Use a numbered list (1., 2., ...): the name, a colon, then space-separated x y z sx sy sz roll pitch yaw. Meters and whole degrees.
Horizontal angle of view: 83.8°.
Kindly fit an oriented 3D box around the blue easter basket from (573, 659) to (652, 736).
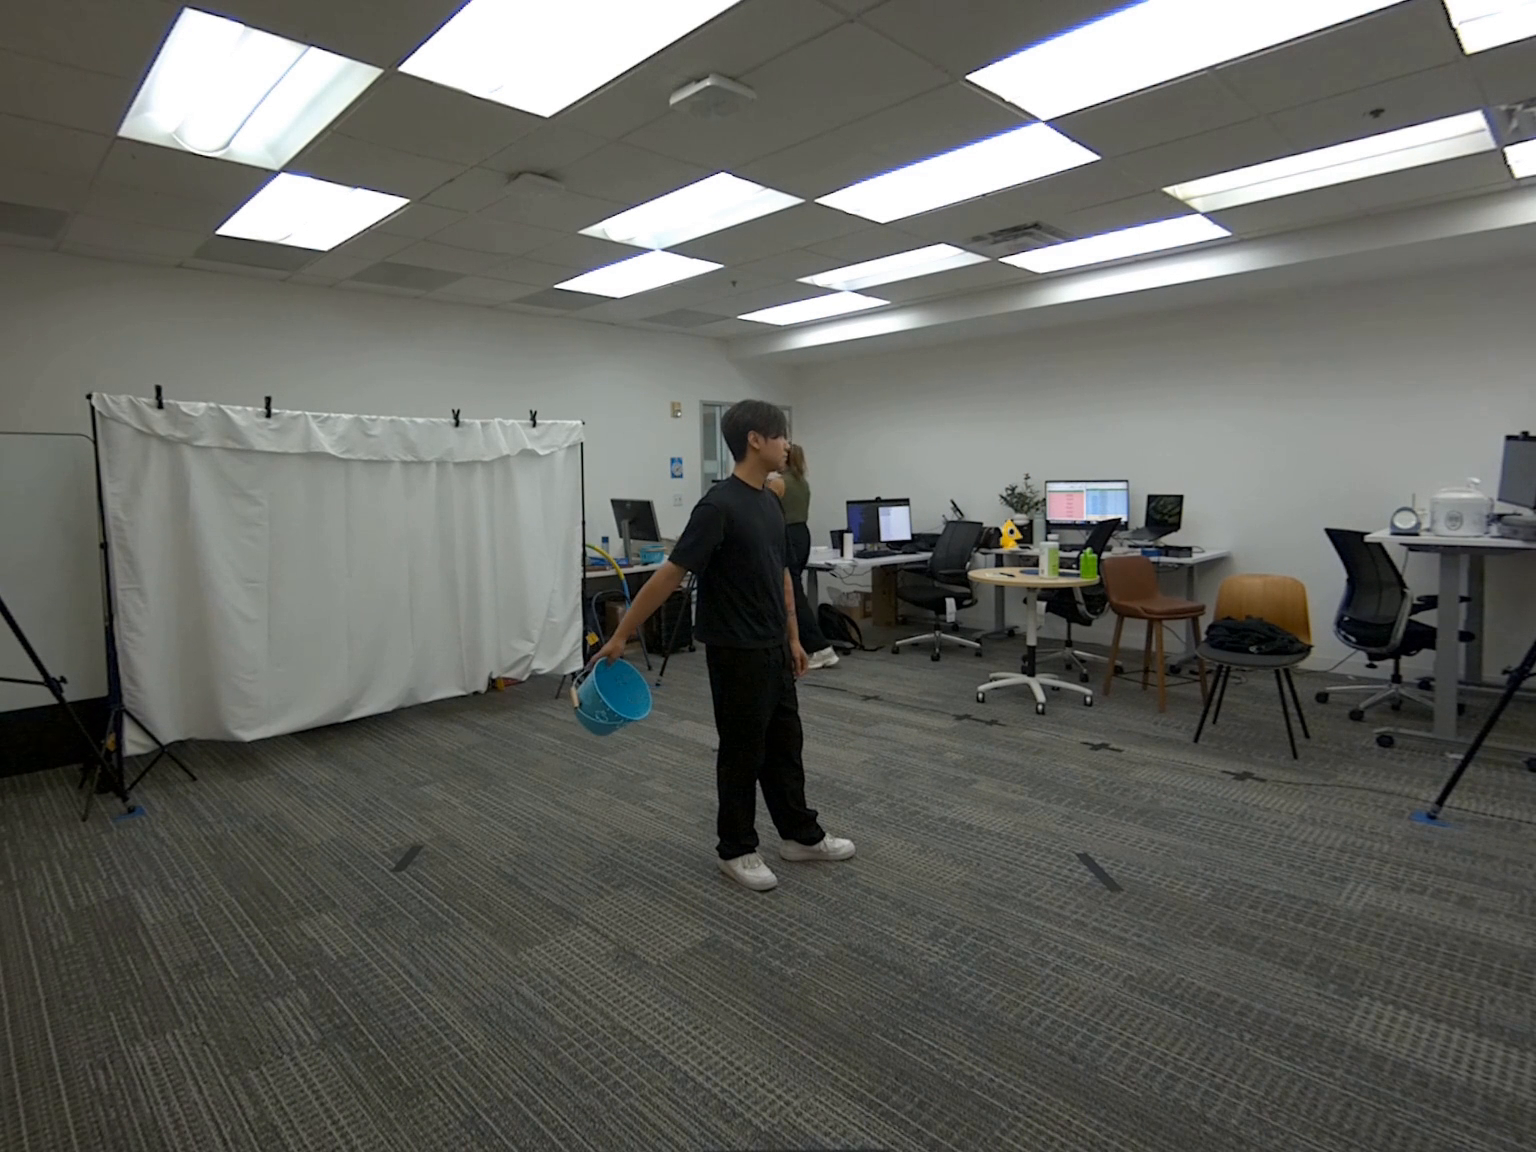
1. blue easter basket: -0.509 0.399 2.759 0.156 0.248 0.239 -39 -13 24
